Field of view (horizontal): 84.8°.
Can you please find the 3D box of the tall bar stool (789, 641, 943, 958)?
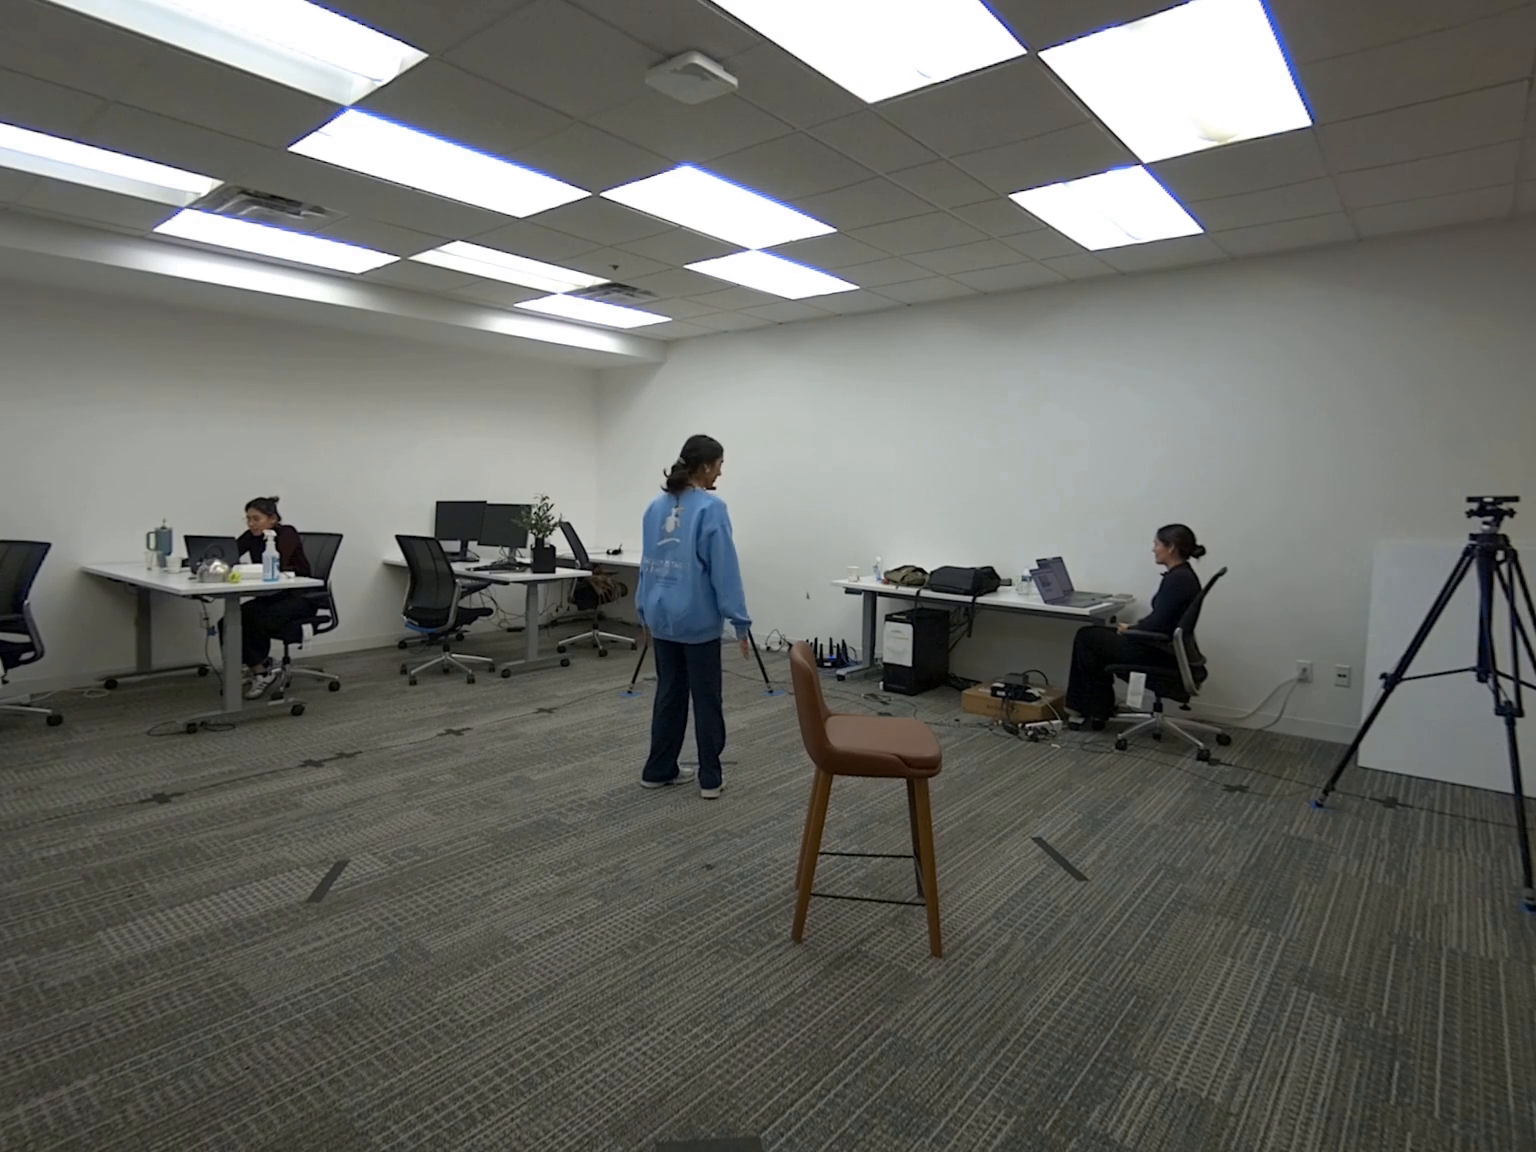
[{"bbox_3d":[0.310,0.679,2.747,0.471,0.887,0.454,1,3,6],"label":"tall bar stool"}]
